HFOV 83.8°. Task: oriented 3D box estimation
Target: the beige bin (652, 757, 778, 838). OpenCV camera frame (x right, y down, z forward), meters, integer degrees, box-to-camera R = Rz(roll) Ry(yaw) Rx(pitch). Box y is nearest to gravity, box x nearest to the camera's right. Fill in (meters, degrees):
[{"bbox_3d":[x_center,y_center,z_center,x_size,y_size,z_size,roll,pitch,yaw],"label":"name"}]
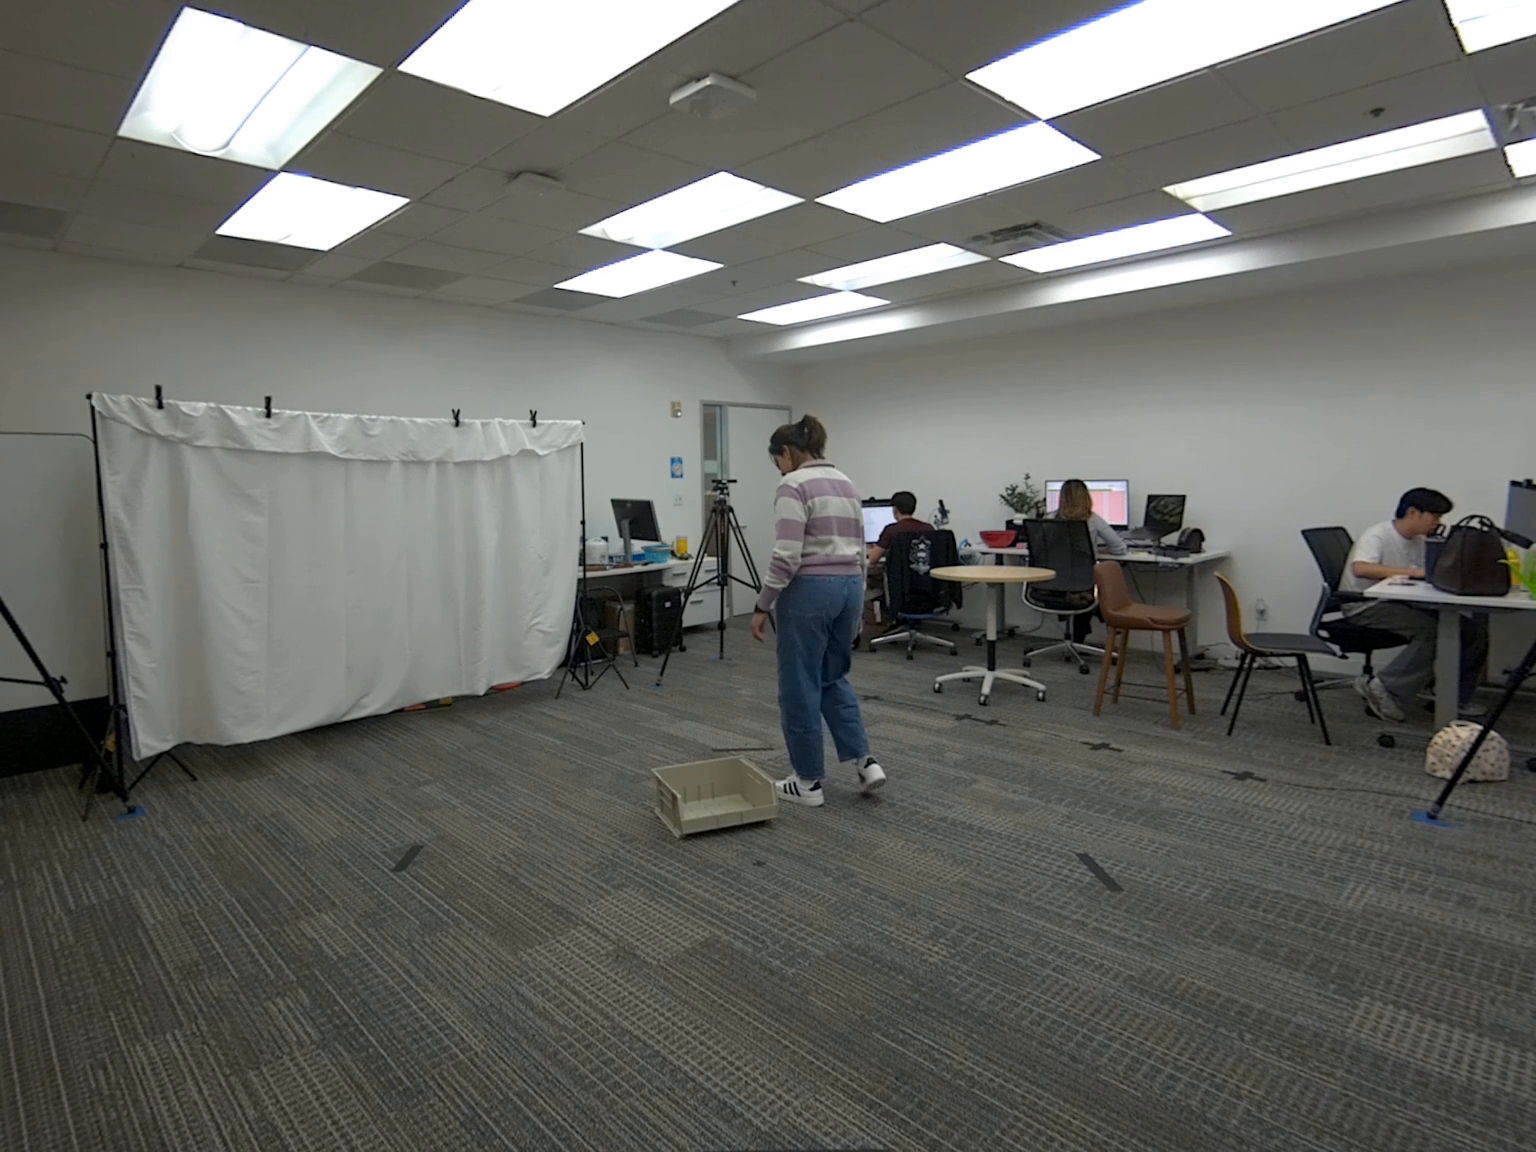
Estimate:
[{"bbox_3d":[-0.226,0.915,3.535,0.414,0.188,0.386,-4,6,-24],"label":"beige bin"}]
